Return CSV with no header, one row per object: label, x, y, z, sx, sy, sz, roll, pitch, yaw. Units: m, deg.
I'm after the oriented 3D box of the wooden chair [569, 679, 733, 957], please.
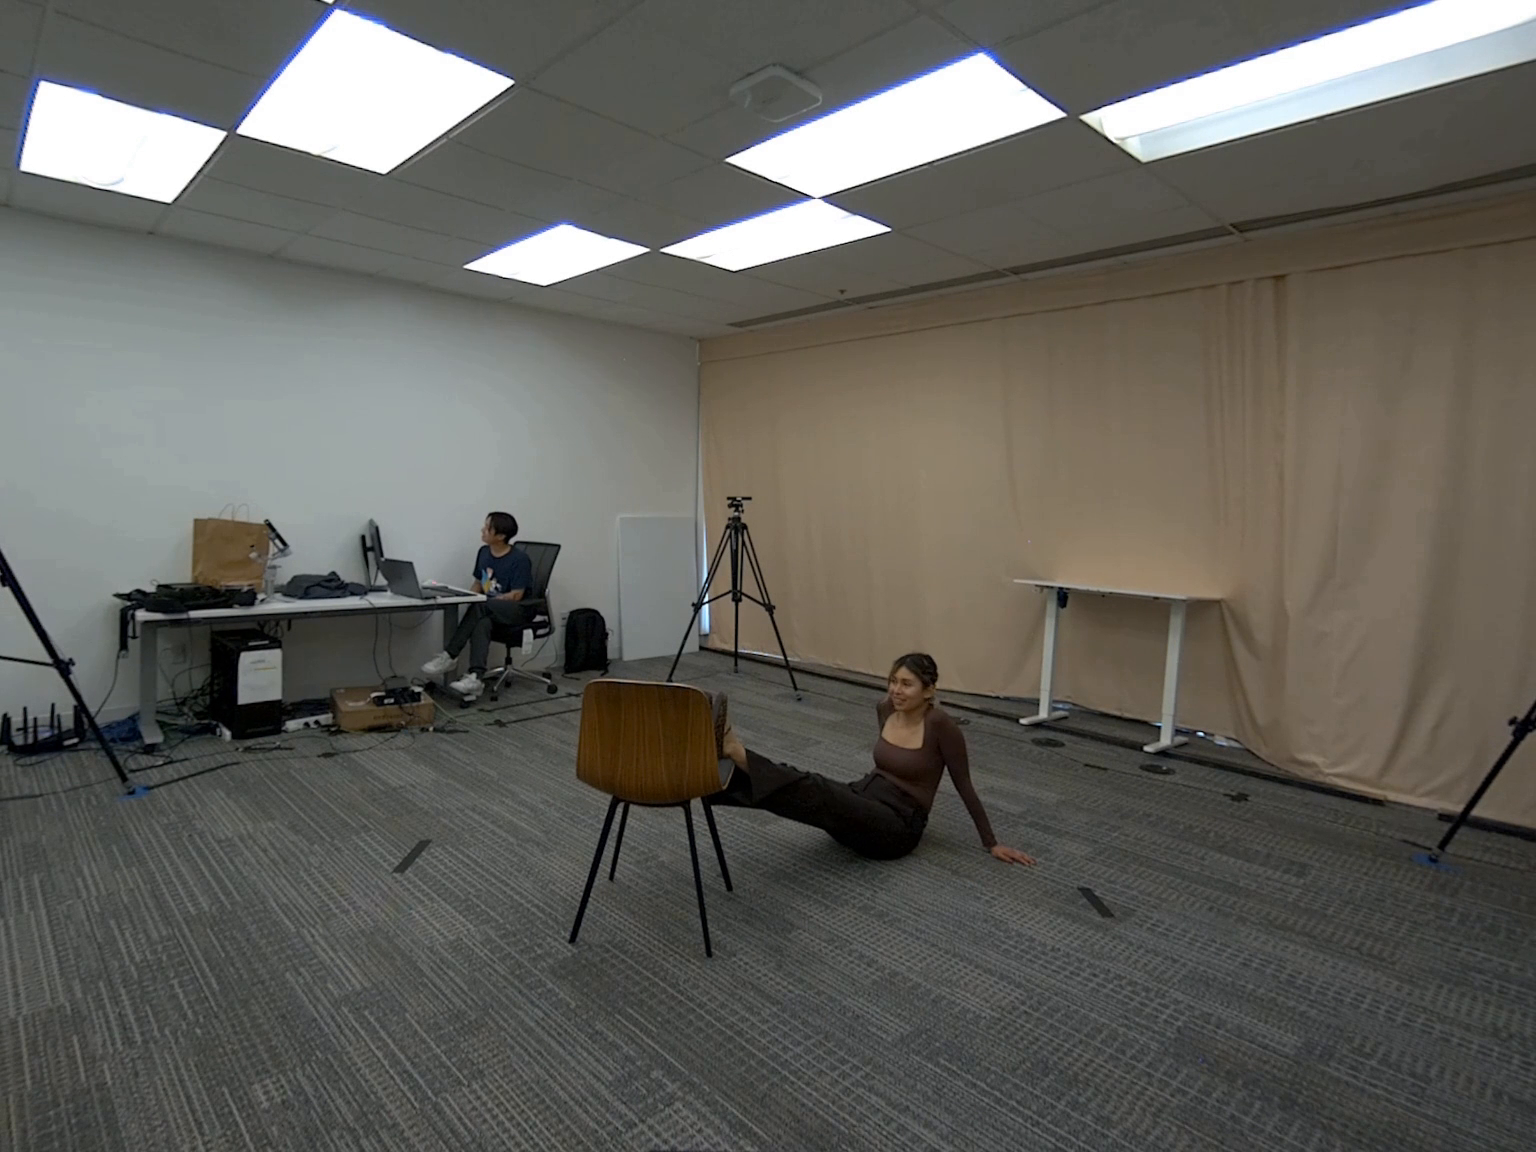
wooden chair,-0.366,0.705,2.771,0.481,0.873,0.522,2,7,7
